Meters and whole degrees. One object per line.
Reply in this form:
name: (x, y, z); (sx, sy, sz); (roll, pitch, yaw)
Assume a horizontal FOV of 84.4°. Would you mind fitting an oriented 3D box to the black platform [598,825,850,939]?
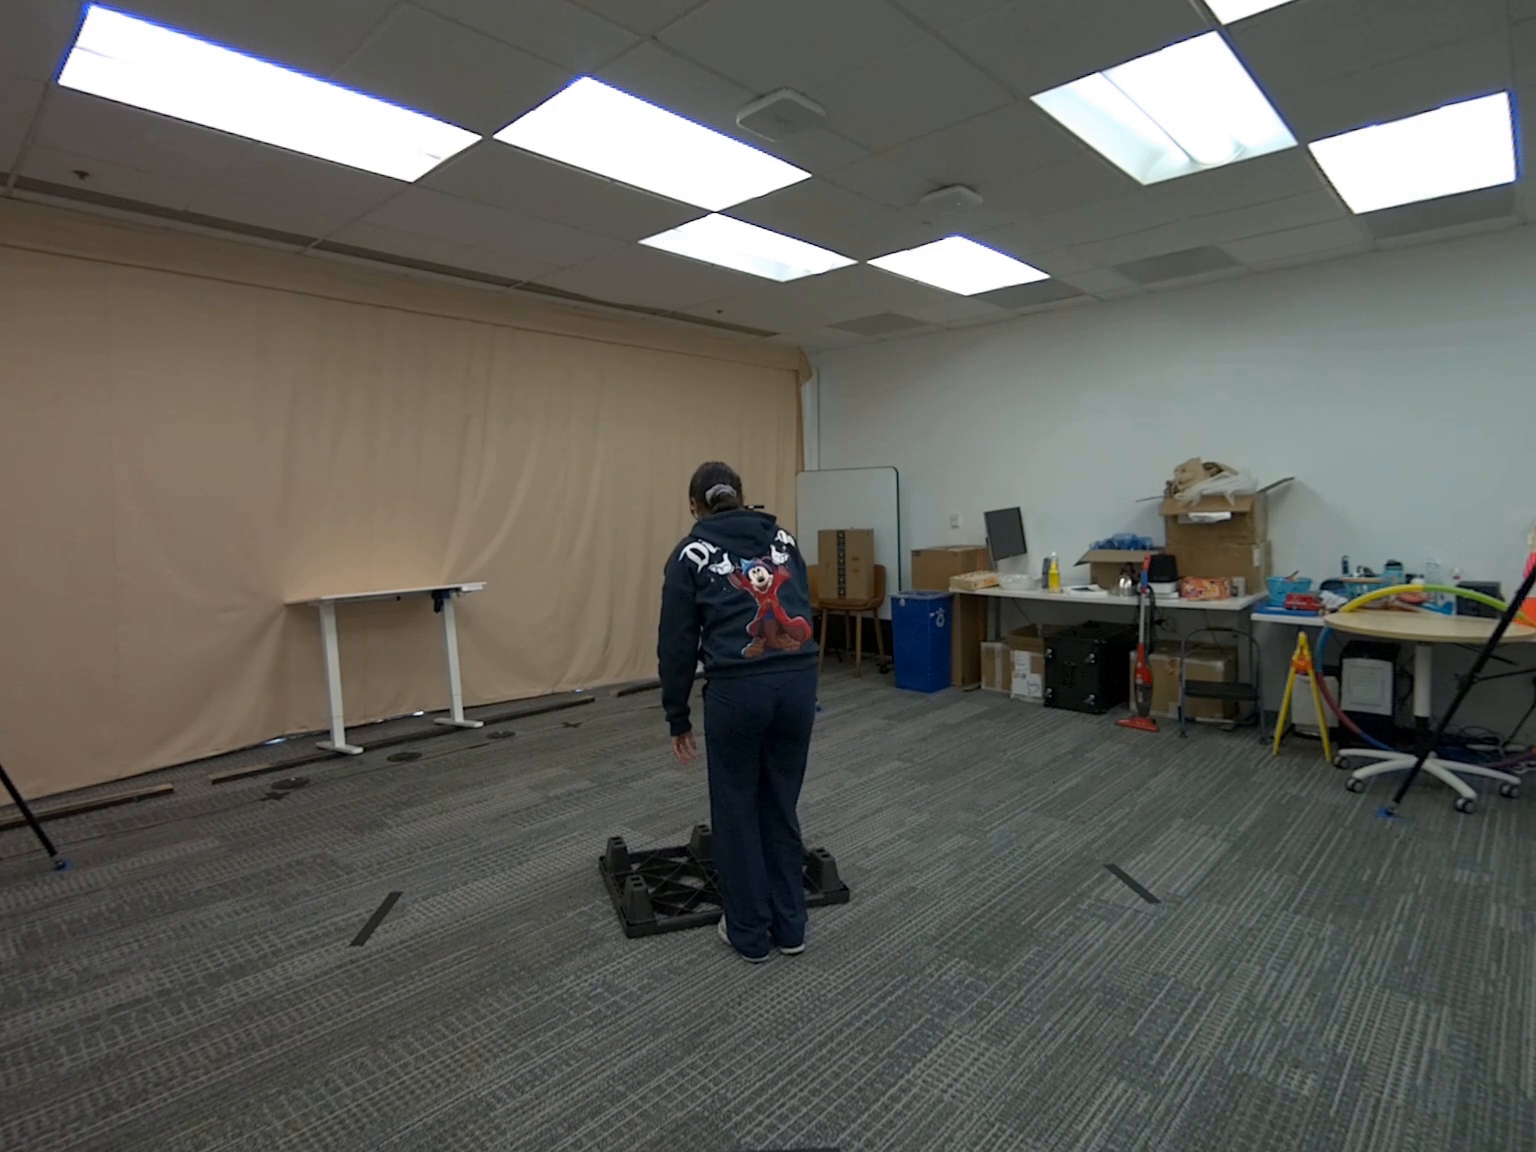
black platform: (-0.186, 1.065, 3.106); (0.791, 0.143, 0.618); (-3, 5, -19)
